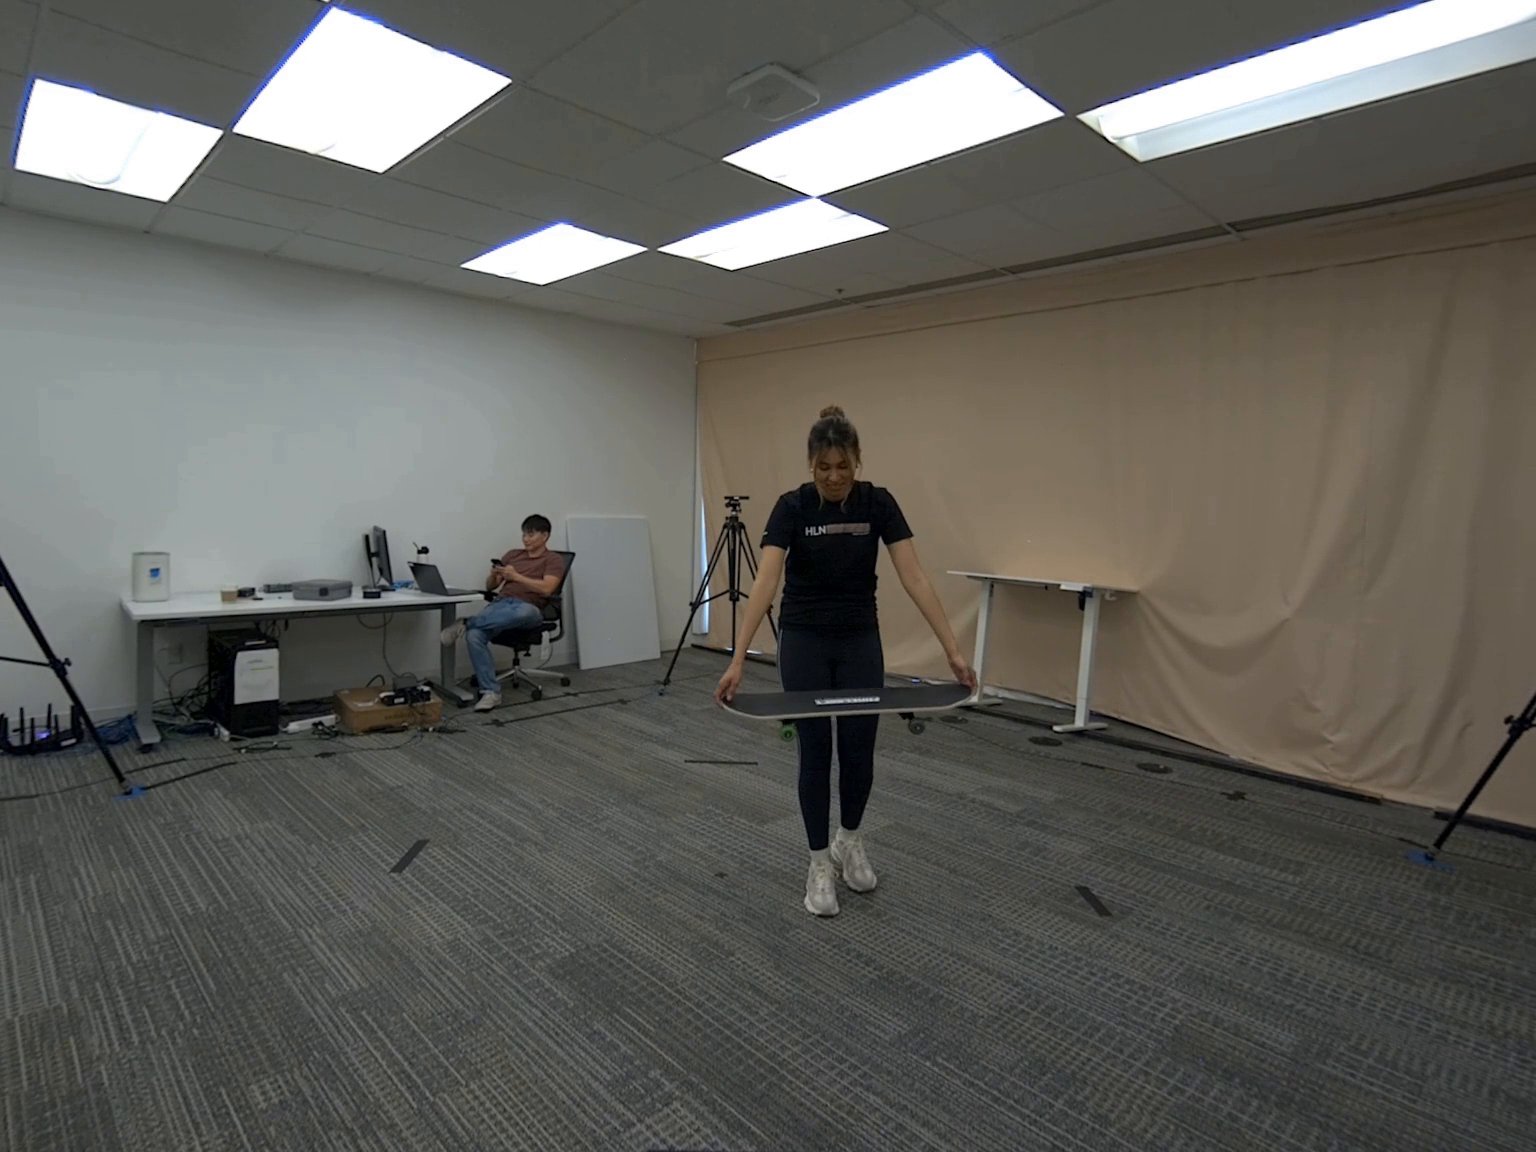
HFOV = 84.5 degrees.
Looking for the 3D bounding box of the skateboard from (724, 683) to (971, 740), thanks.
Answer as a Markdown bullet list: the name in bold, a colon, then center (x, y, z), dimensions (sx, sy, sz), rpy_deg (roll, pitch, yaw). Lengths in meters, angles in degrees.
- **skateboard**: center (0.237, 0.429, 2.636), dimensions (0.783, 0.109, 0.195), rpy_deg (-2, 12, -4)
